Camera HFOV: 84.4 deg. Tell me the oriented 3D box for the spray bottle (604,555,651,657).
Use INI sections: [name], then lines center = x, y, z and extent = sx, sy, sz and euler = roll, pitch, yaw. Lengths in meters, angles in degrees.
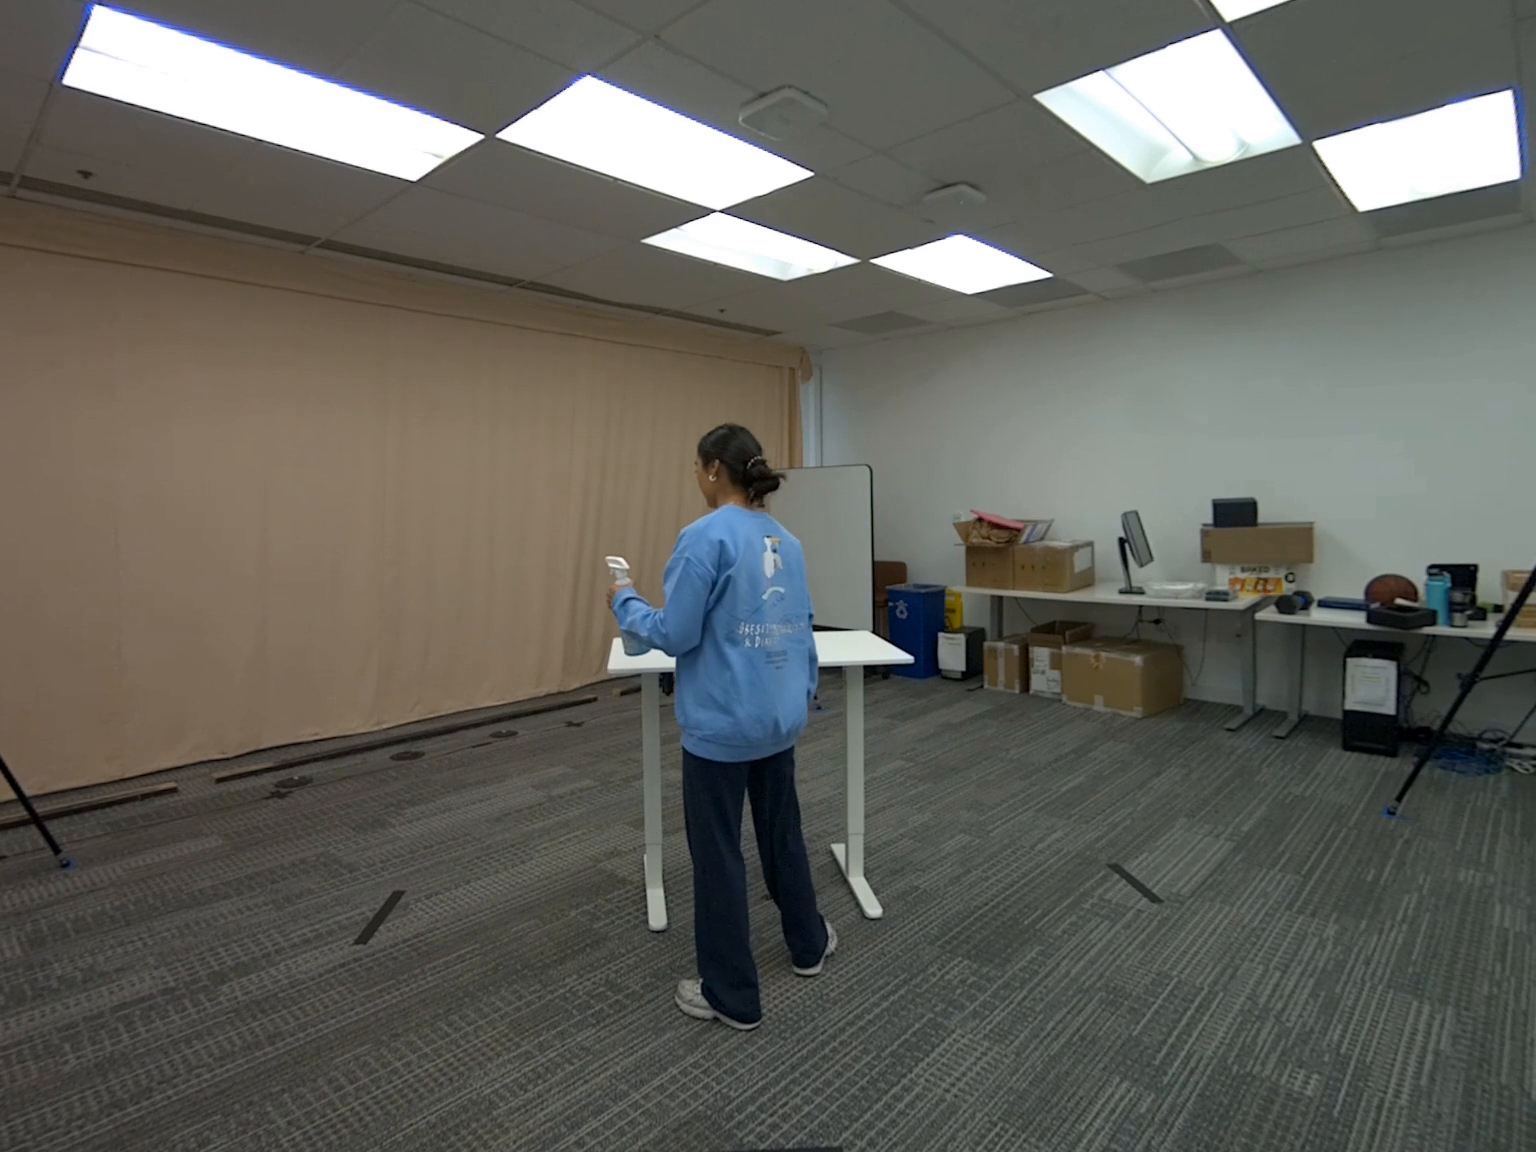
[spray bottle]
center = -0.406, 0.087, 2.485
extent = 0.085, 0.294, 0.092
euler = -17, 14, -21
